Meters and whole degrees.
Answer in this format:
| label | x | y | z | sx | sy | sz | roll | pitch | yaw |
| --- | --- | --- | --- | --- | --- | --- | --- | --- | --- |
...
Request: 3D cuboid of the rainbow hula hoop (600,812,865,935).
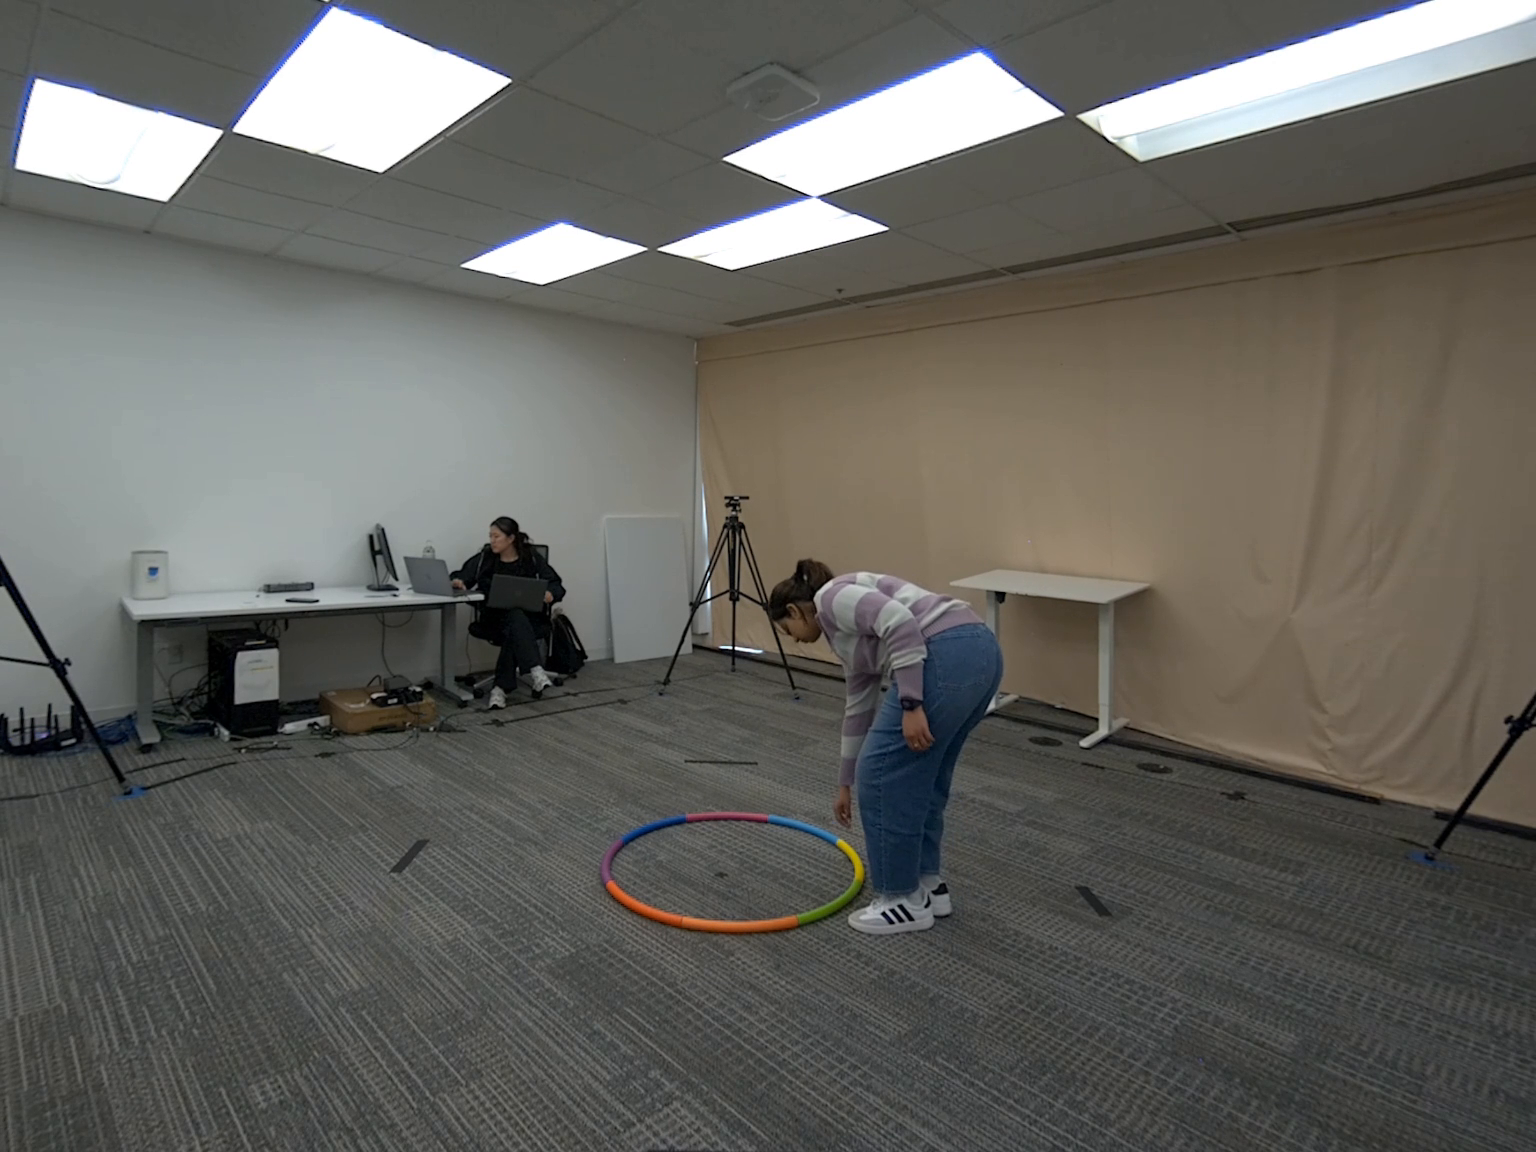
| label | x | y | z | sx | sy | sz | roll | pitch | yaw |
| --- | --- | --- | --- | --- | --- | --- | --- | --- | --- |
| rainbow hula hoop | -0.135 | 1.066 | 3.170 | 0.978 | 0.035 | 0.982 | 1 | 5 | -1 |
